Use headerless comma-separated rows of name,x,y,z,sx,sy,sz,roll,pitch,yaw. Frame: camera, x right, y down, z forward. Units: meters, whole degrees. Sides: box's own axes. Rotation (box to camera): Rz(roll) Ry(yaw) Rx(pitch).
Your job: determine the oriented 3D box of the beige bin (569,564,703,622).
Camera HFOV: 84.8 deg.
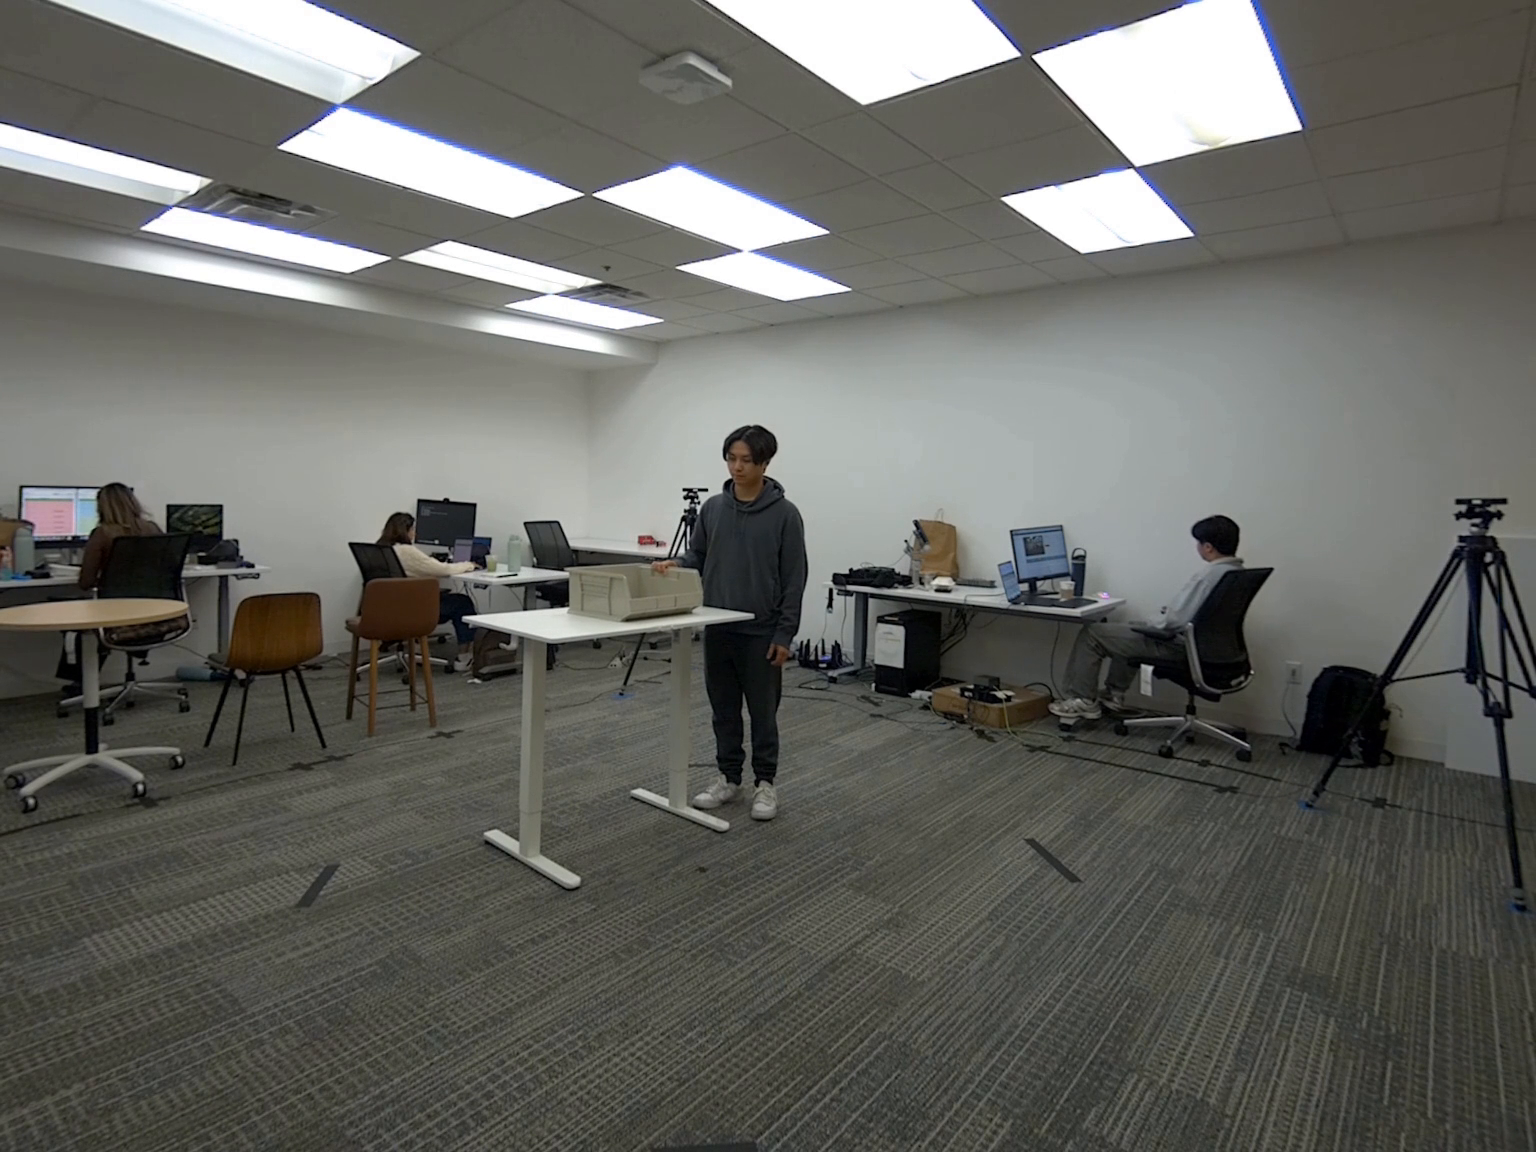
beige bin,-0.552,0.062,3.436,0.390,0.188,0.410,4,6,39
